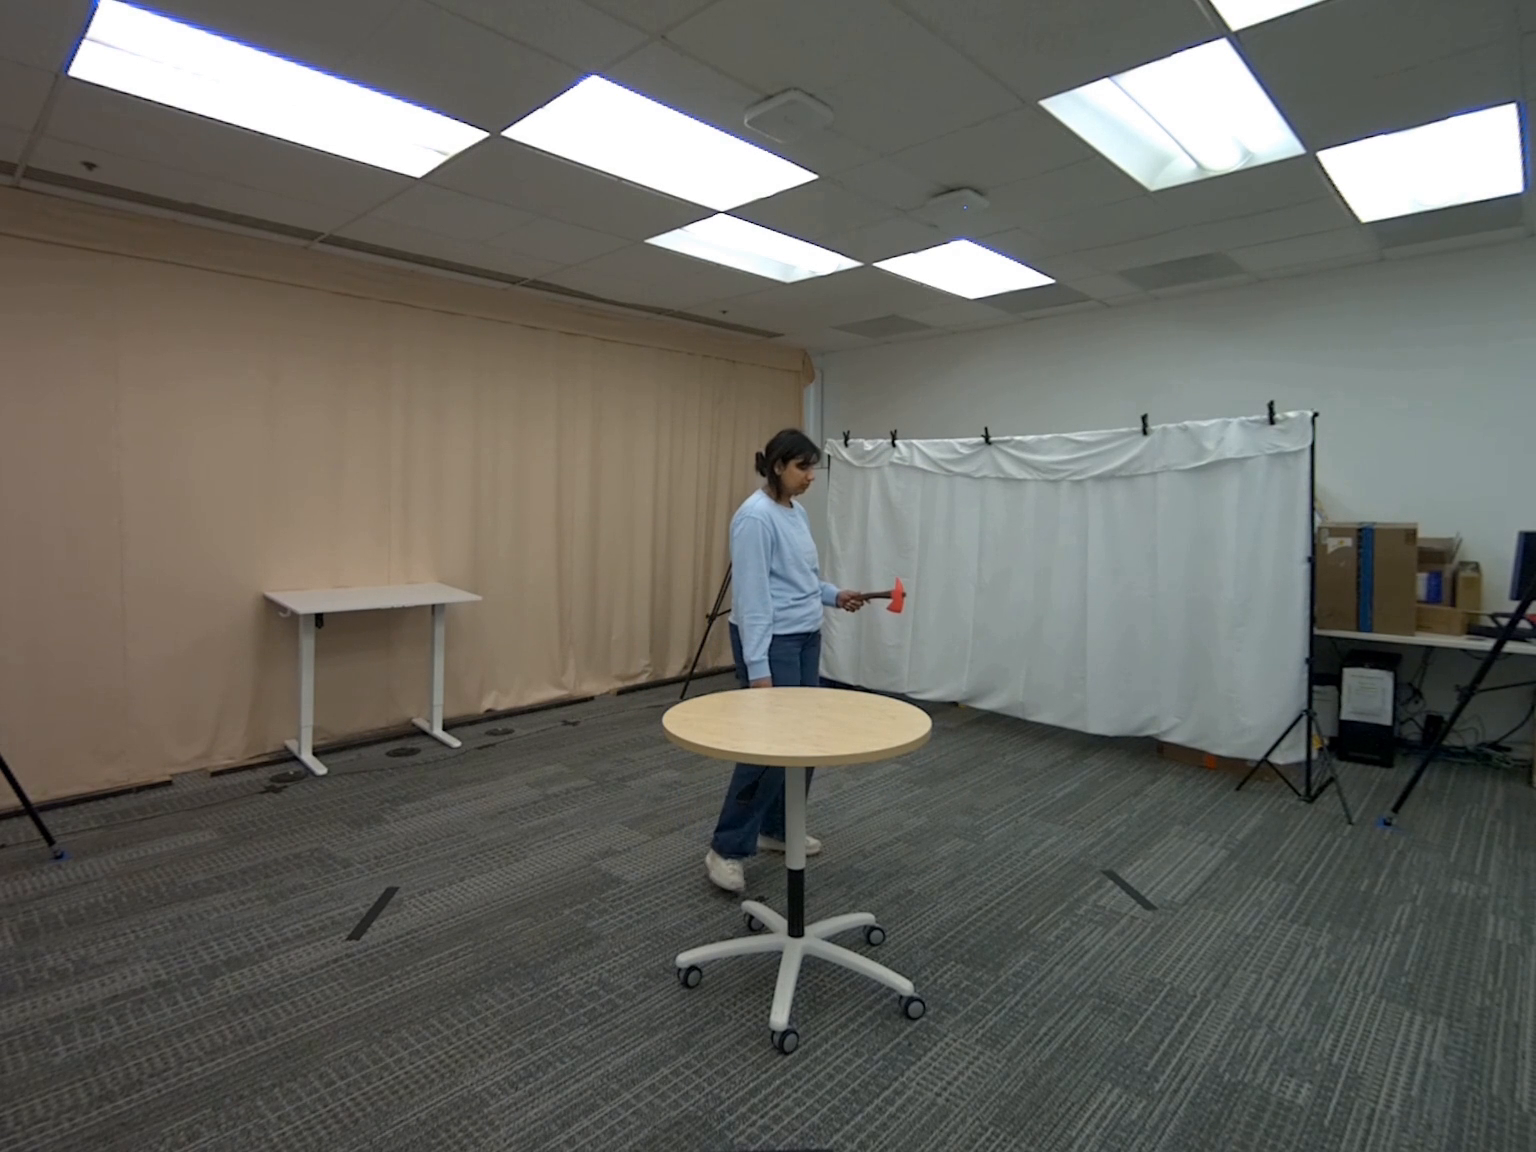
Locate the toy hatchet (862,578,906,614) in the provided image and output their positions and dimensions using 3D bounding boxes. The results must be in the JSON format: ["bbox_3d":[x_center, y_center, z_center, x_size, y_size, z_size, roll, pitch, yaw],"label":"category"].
[{"bbox_3d":[0.411,0.115,3.237,0.275,0.132,0.029,-26,-12,29],"label":"toy hatchet"}]
